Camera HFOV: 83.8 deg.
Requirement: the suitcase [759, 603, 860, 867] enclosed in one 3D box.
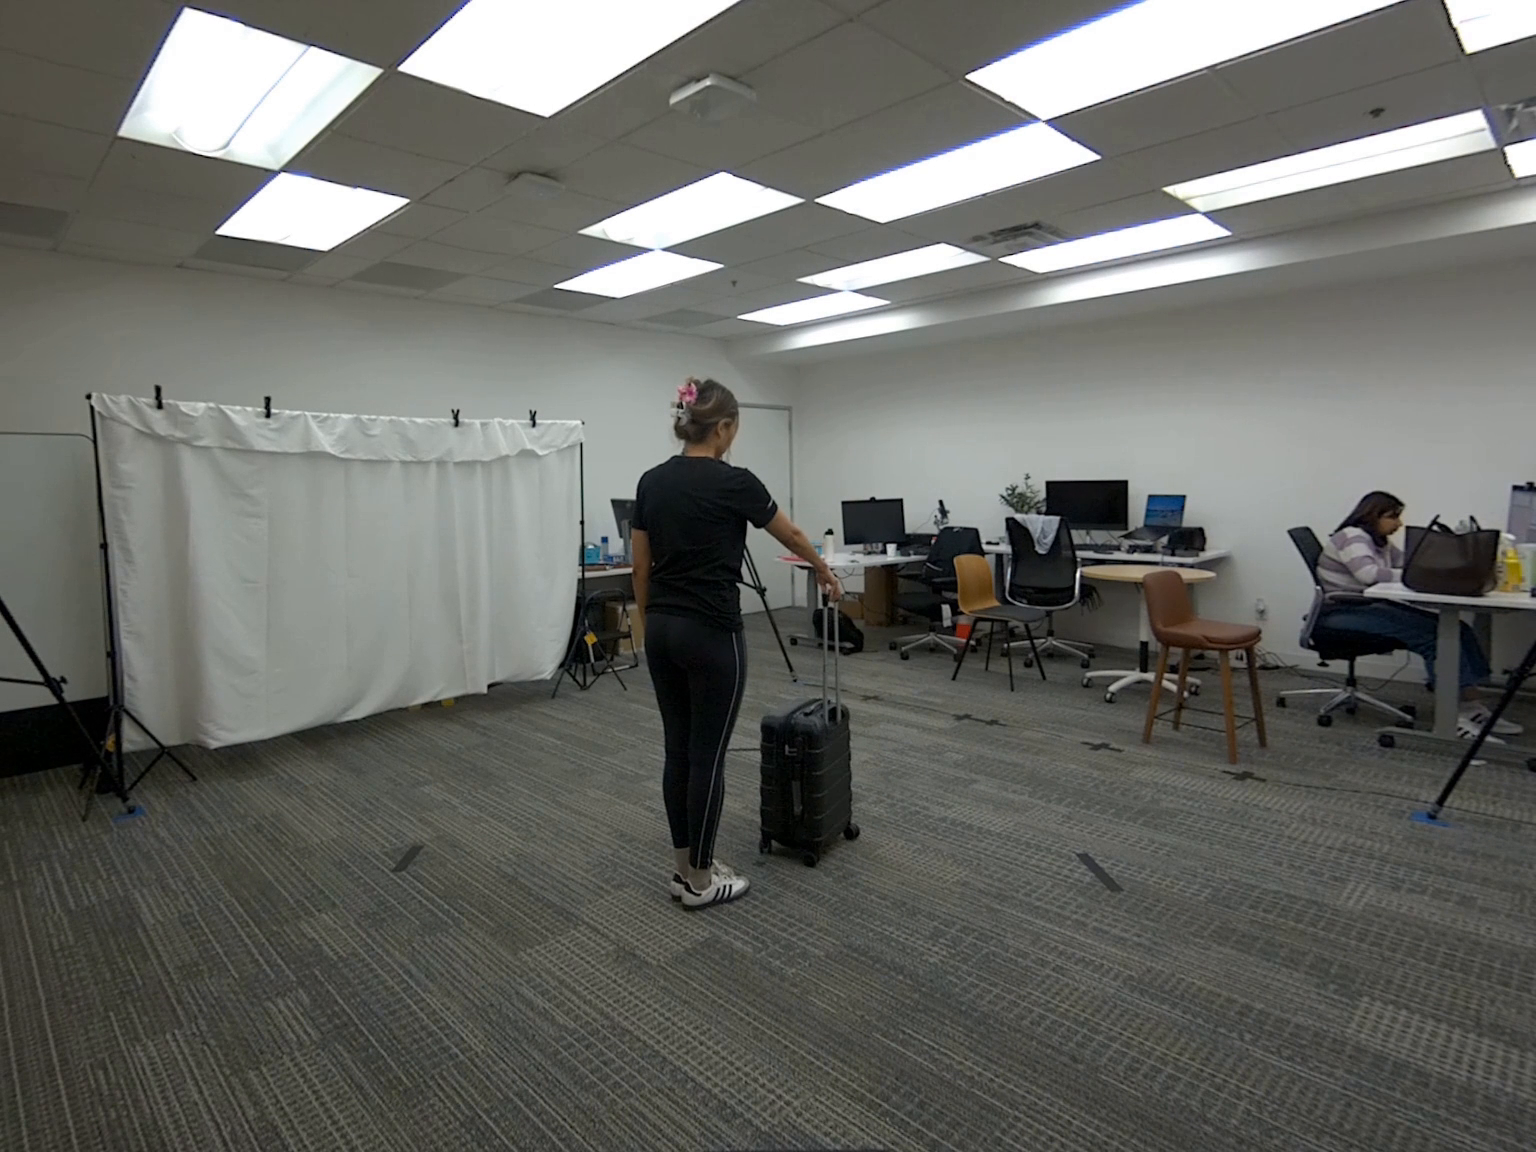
[{"bbox_3d":[0.145,0.557,3.232,0.263,0.976,0.375,0,3,30],"label":"suitcase"}]
